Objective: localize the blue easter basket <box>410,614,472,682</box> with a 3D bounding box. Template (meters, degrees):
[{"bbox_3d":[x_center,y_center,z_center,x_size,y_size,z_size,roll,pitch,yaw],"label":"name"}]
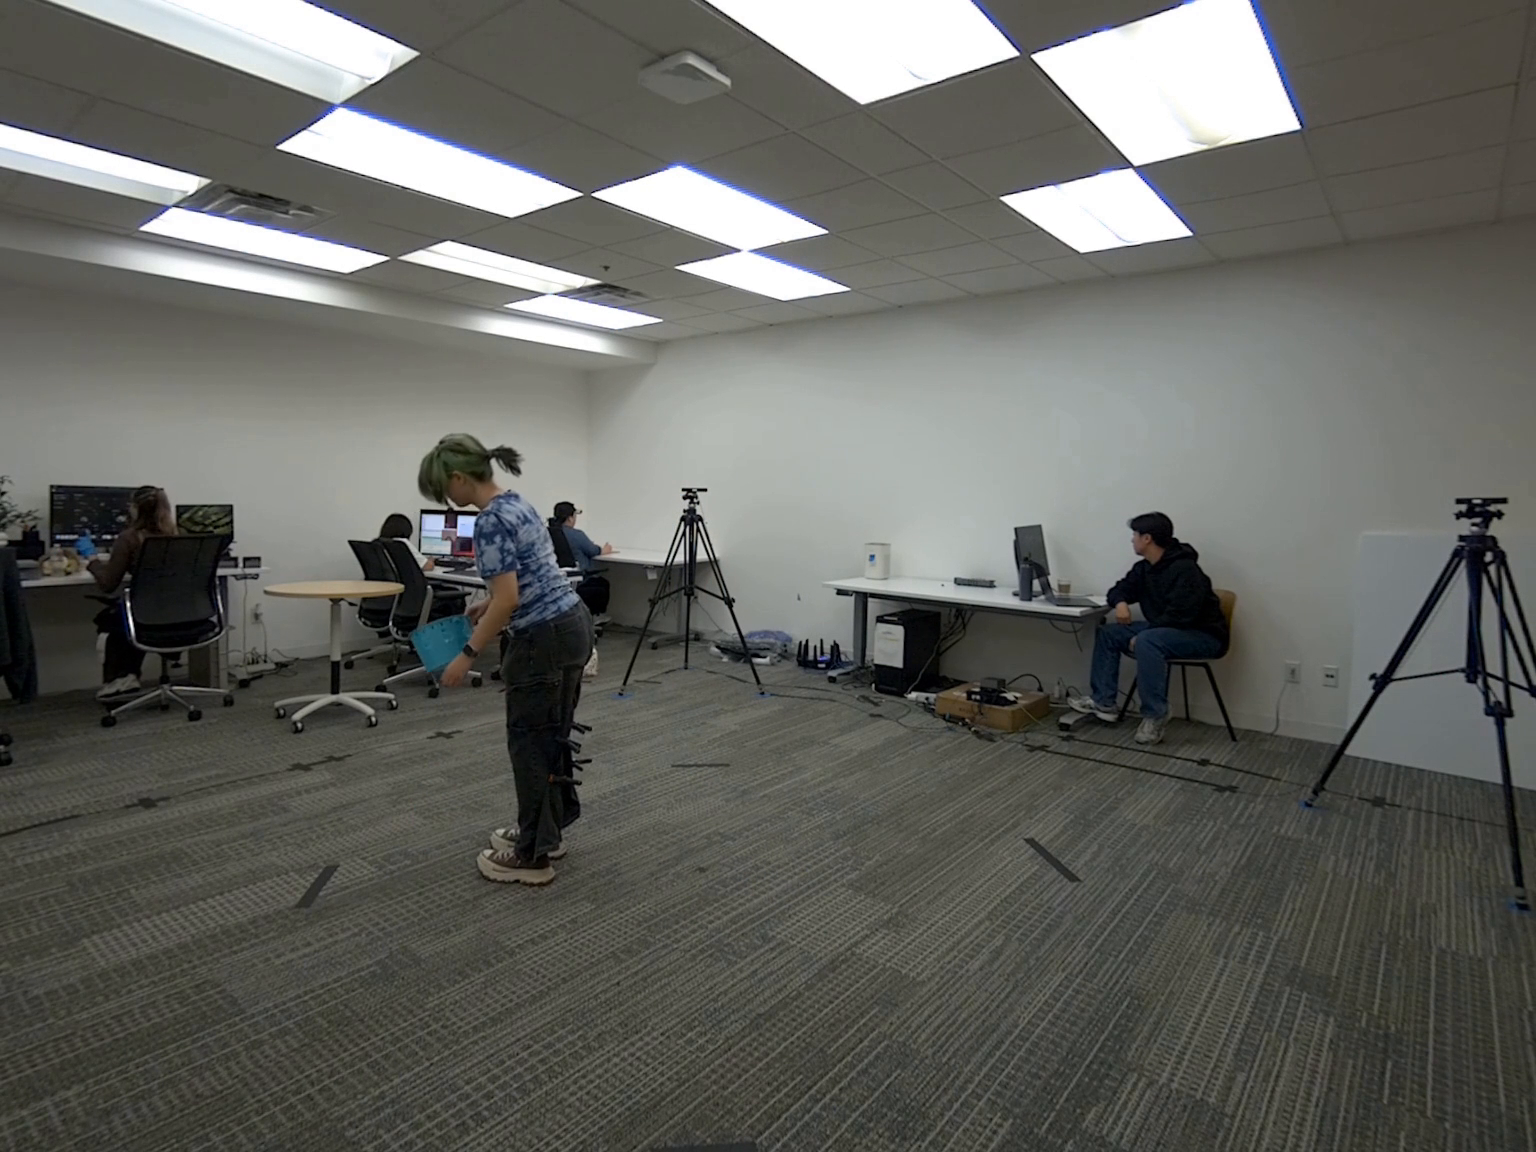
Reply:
[{"bbox_3d":[-1.210,0.257,3.140,0.243,0.158,0.241,-21,-9,-6],"label":"blue easter basket"}]
